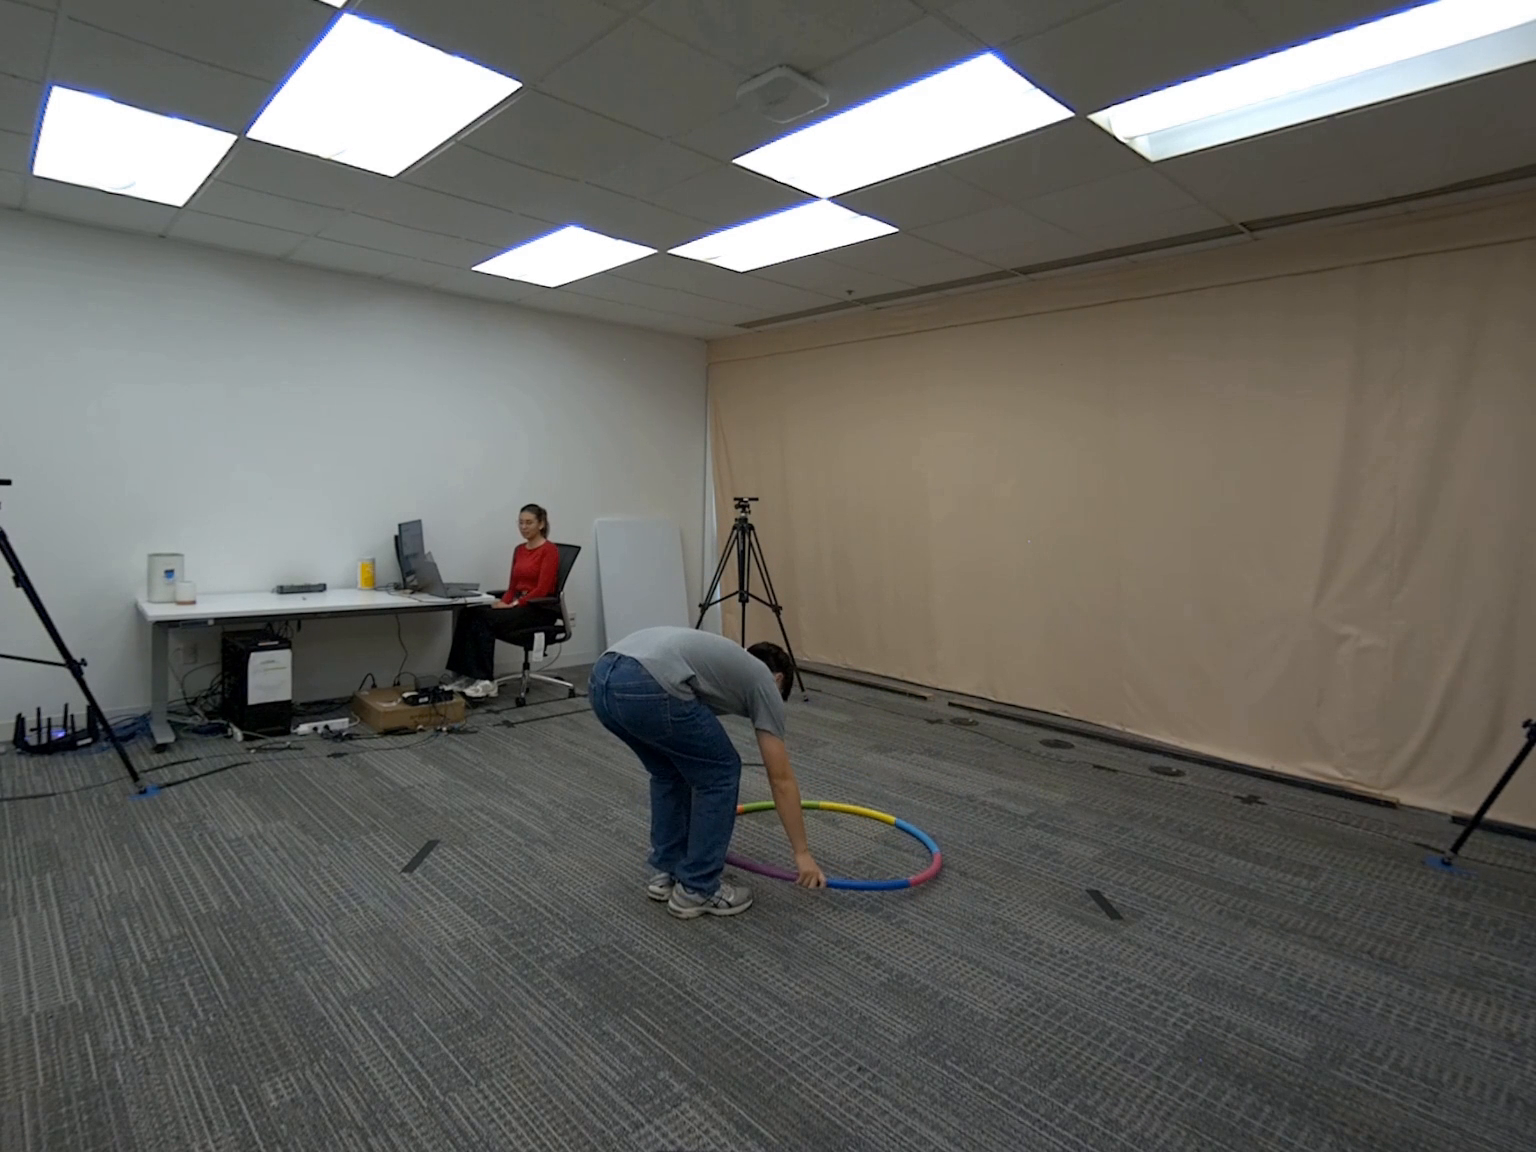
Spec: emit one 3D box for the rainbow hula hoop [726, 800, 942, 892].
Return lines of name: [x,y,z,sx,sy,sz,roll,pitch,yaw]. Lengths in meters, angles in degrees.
rainbow hula hoop: [0.165,1.037,3.341,0.978,0.035,0.979,3,1,-1]
